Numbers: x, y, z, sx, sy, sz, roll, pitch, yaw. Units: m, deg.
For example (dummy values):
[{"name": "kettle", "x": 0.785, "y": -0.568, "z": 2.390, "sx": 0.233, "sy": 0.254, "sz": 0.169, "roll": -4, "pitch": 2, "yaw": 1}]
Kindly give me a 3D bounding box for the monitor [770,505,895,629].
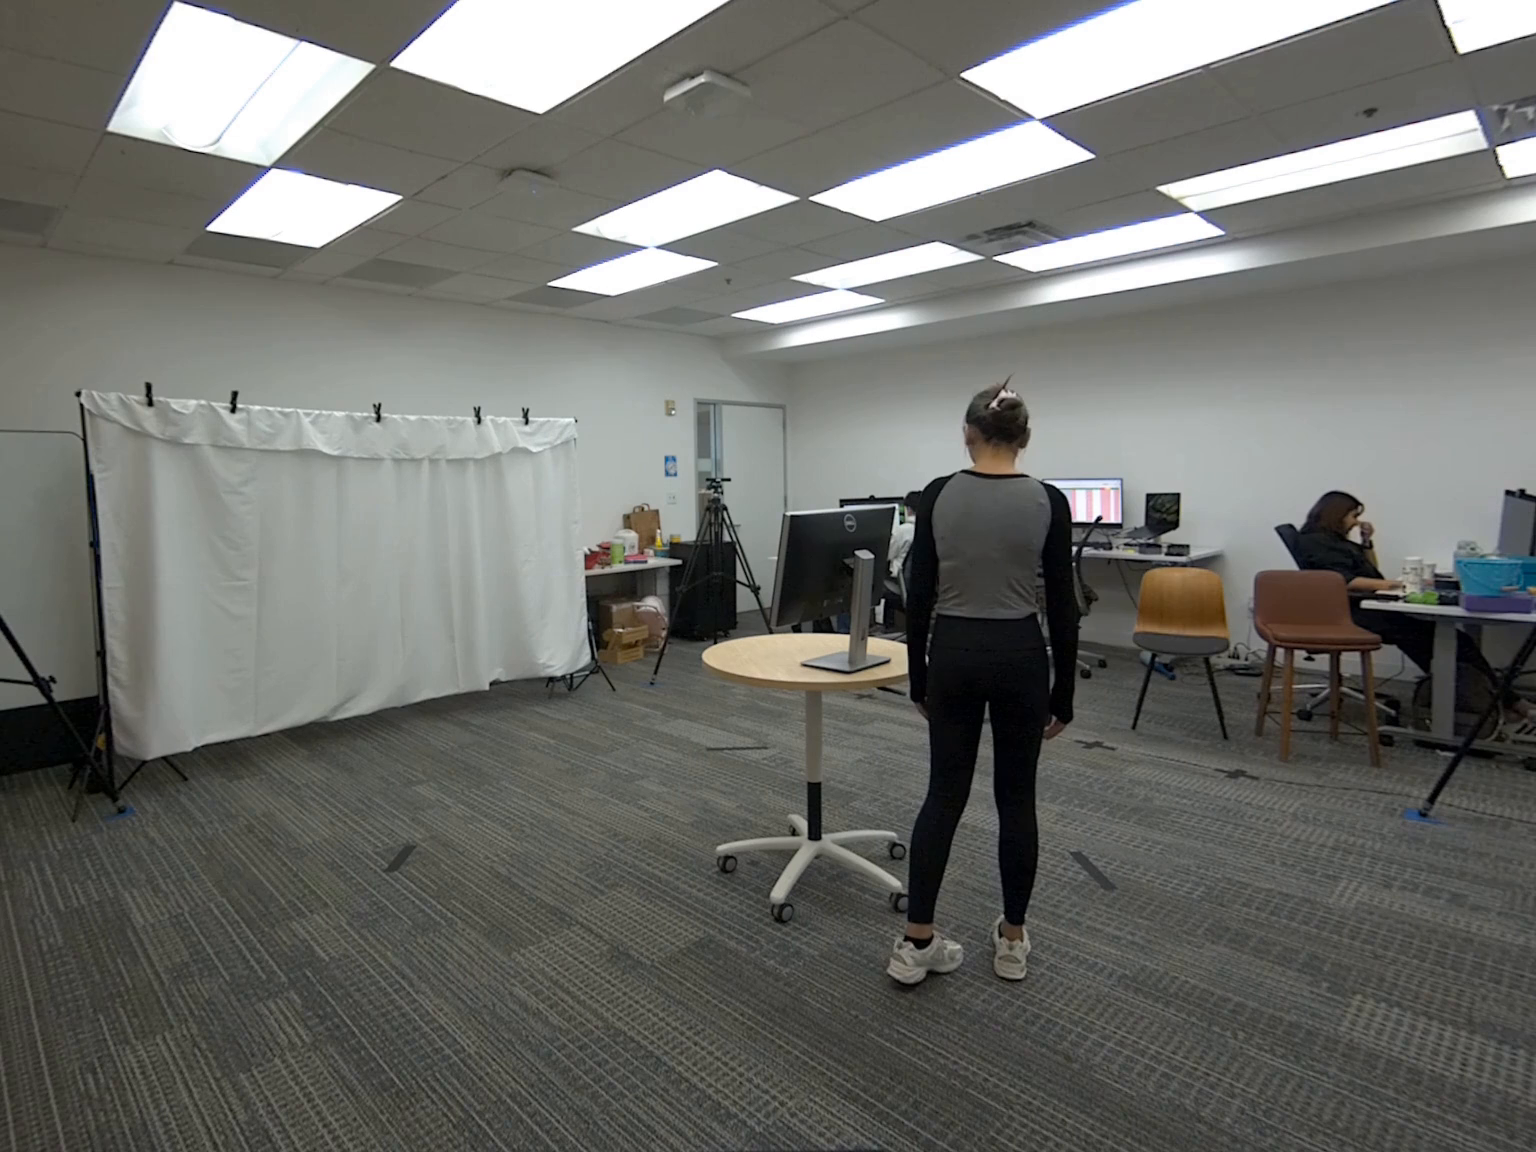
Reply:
[{"name": "monitor", "x": 0.256, "y": 0.043, "z": 2.771, "sx": 0.192, "sy": 0.522, "sz": 0.525, "roll": -2, "pitch": 3, "yaw": 43}]
